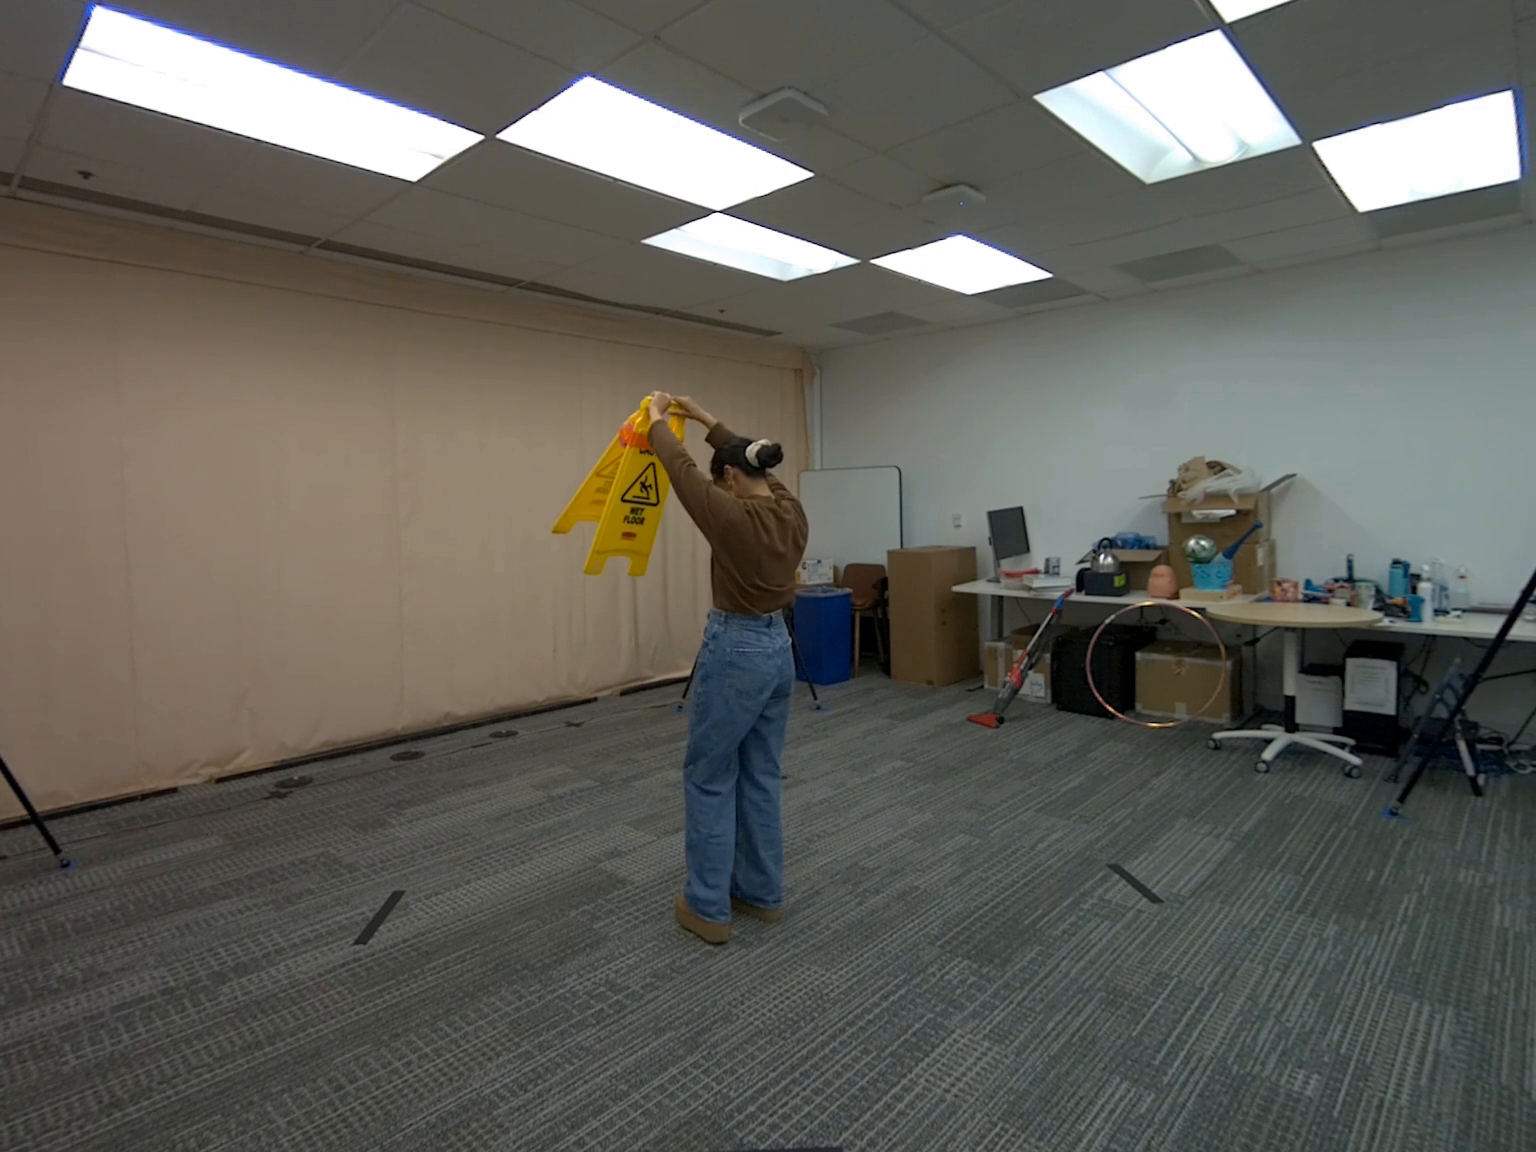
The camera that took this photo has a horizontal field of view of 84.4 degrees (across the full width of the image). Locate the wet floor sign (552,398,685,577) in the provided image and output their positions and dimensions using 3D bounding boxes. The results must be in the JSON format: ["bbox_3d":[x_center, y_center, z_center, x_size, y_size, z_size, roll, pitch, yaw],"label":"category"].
[{"bbox_3d":[-0.492,-0.340,3.031,0.273,0.645,0.300,3,31,-48],"label":"wet floor sign"}]
